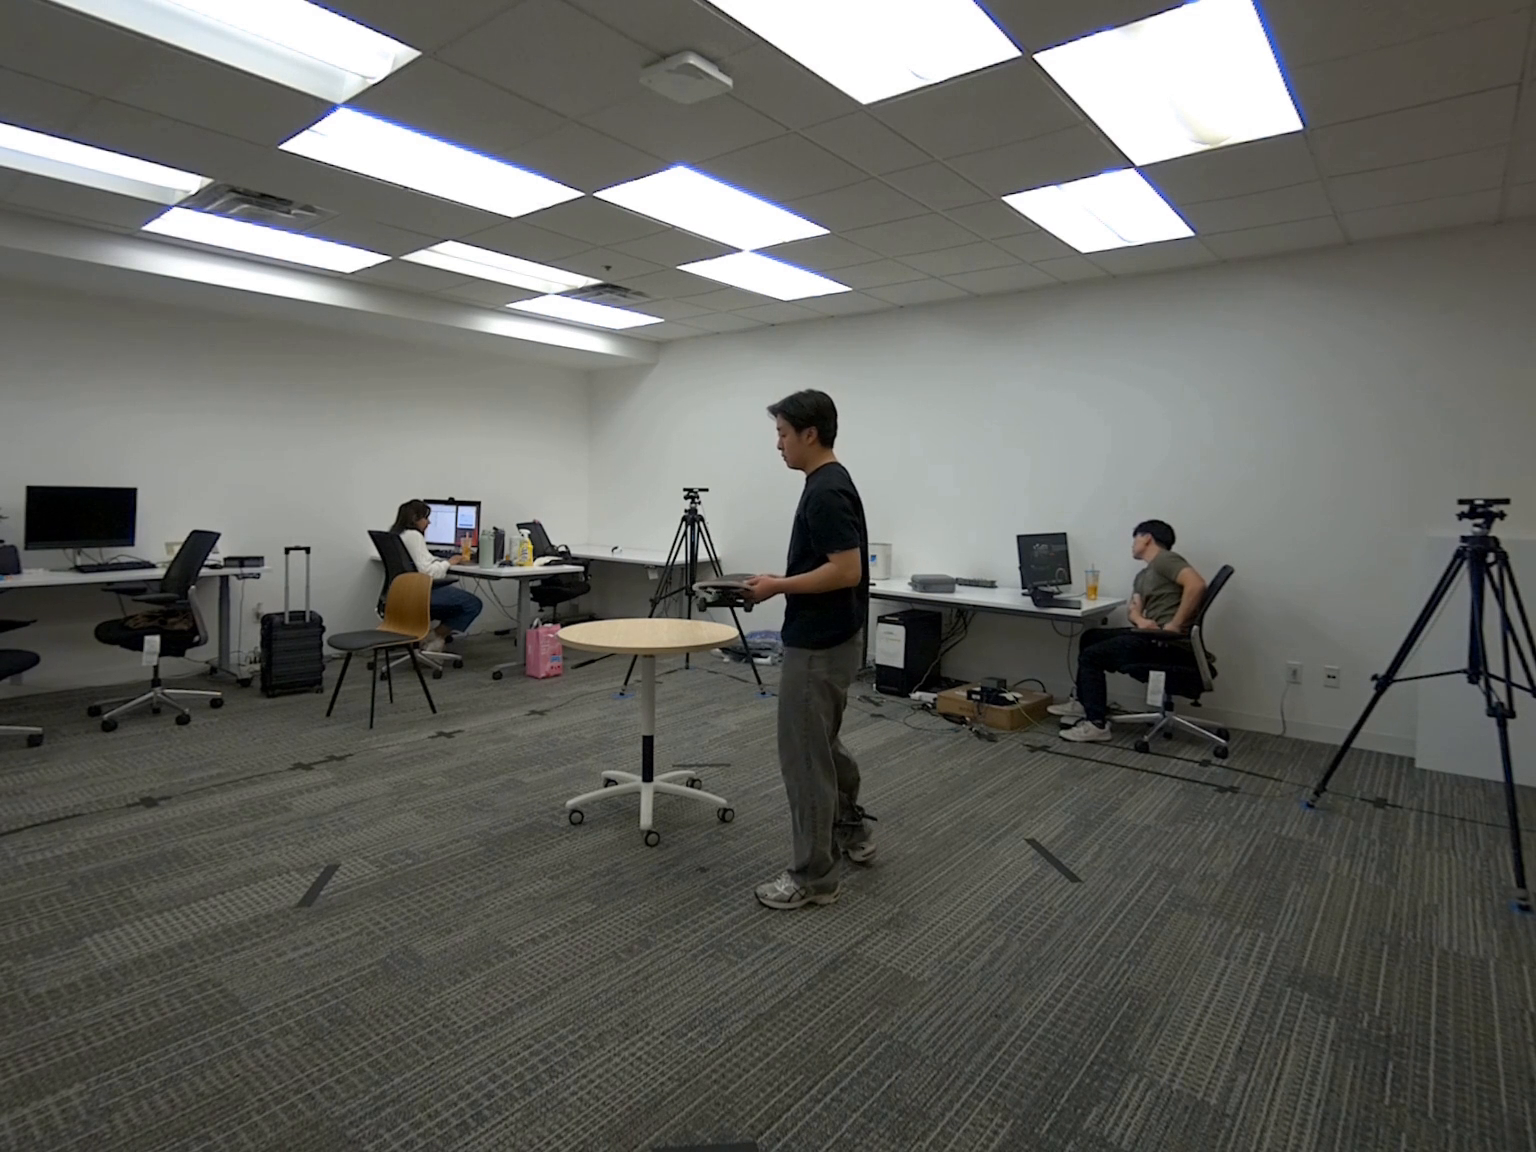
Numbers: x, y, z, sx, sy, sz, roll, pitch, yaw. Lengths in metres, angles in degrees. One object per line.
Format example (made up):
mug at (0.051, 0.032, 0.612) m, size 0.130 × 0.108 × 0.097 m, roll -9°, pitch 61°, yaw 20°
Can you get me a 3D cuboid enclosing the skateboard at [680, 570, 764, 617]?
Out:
skateboard at (-0.149, 0.051, 3.025) m, size 0.195 × 0.110 × 0.780 m, roll 0°, pitch 3°, yaw 5°
